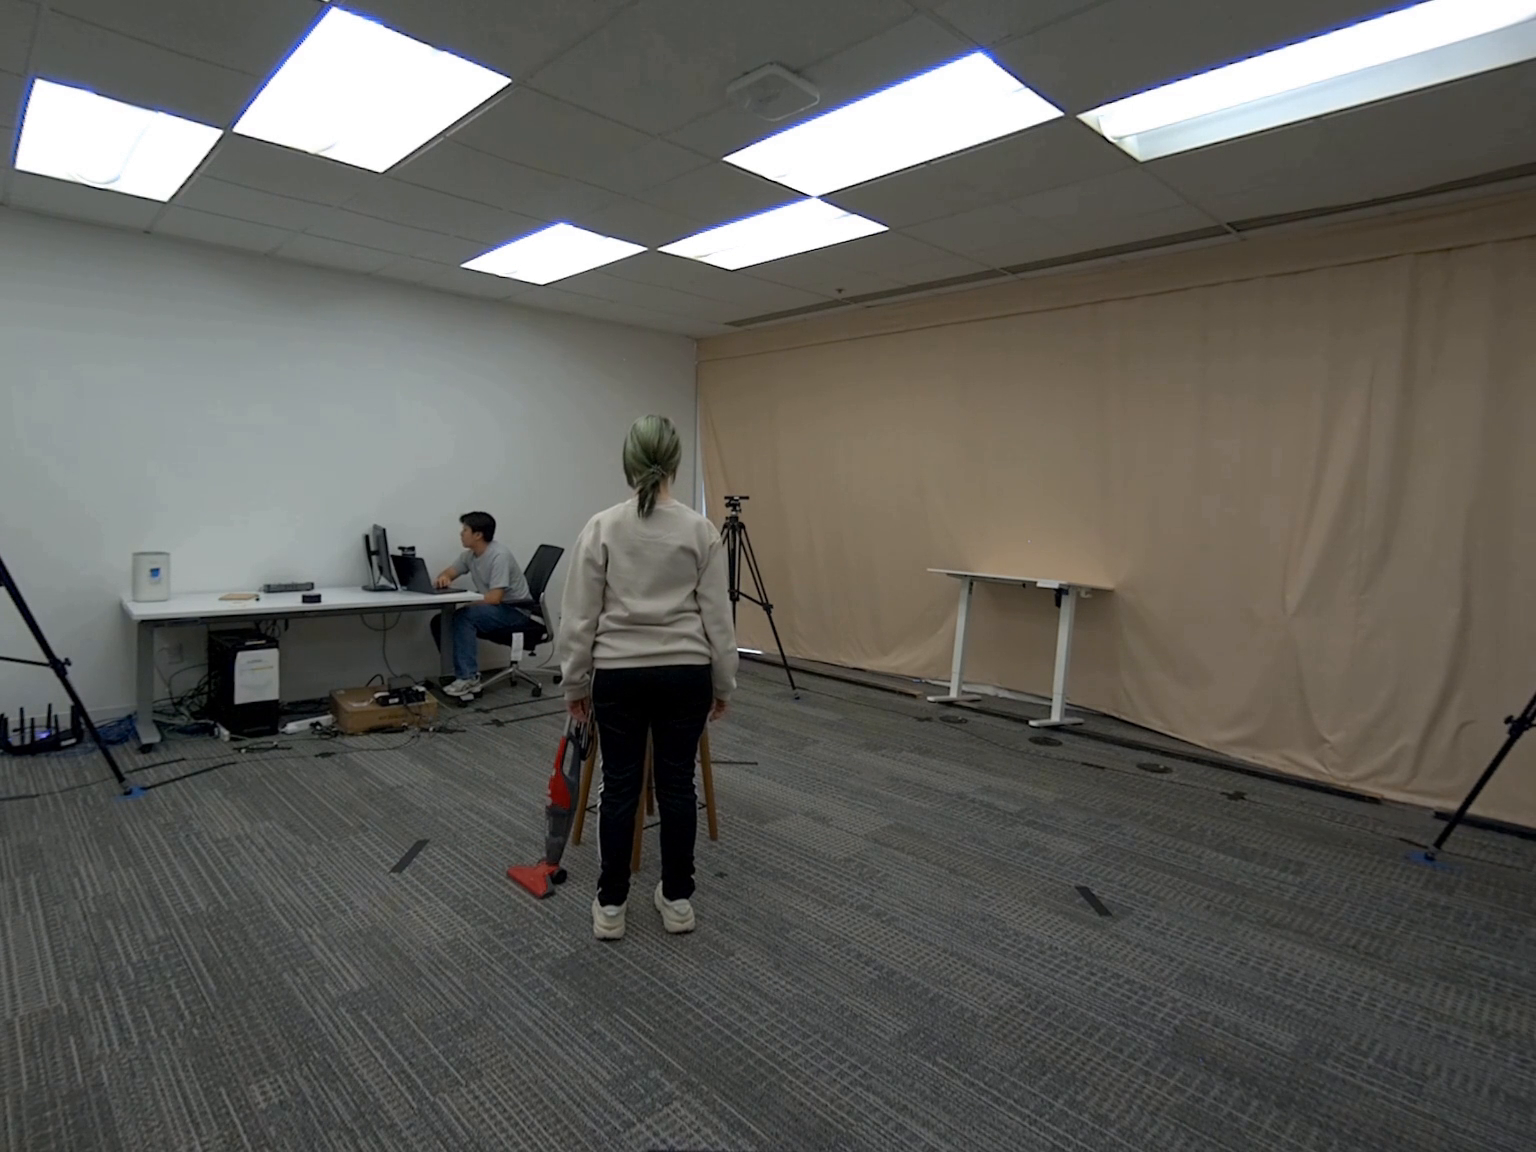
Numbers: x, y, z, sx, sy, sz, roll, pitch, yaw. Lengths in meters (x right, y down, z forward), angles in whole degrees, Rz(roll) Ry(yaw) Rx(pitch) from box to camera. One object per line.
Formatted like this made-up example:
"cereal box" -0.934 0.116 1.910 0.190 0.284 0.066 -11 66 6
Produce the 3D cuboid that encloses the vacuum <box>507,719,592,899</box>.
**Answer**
"vacuum" -0.730 0.598 3.081 0.259 1.055 0.140 1 -12 44
